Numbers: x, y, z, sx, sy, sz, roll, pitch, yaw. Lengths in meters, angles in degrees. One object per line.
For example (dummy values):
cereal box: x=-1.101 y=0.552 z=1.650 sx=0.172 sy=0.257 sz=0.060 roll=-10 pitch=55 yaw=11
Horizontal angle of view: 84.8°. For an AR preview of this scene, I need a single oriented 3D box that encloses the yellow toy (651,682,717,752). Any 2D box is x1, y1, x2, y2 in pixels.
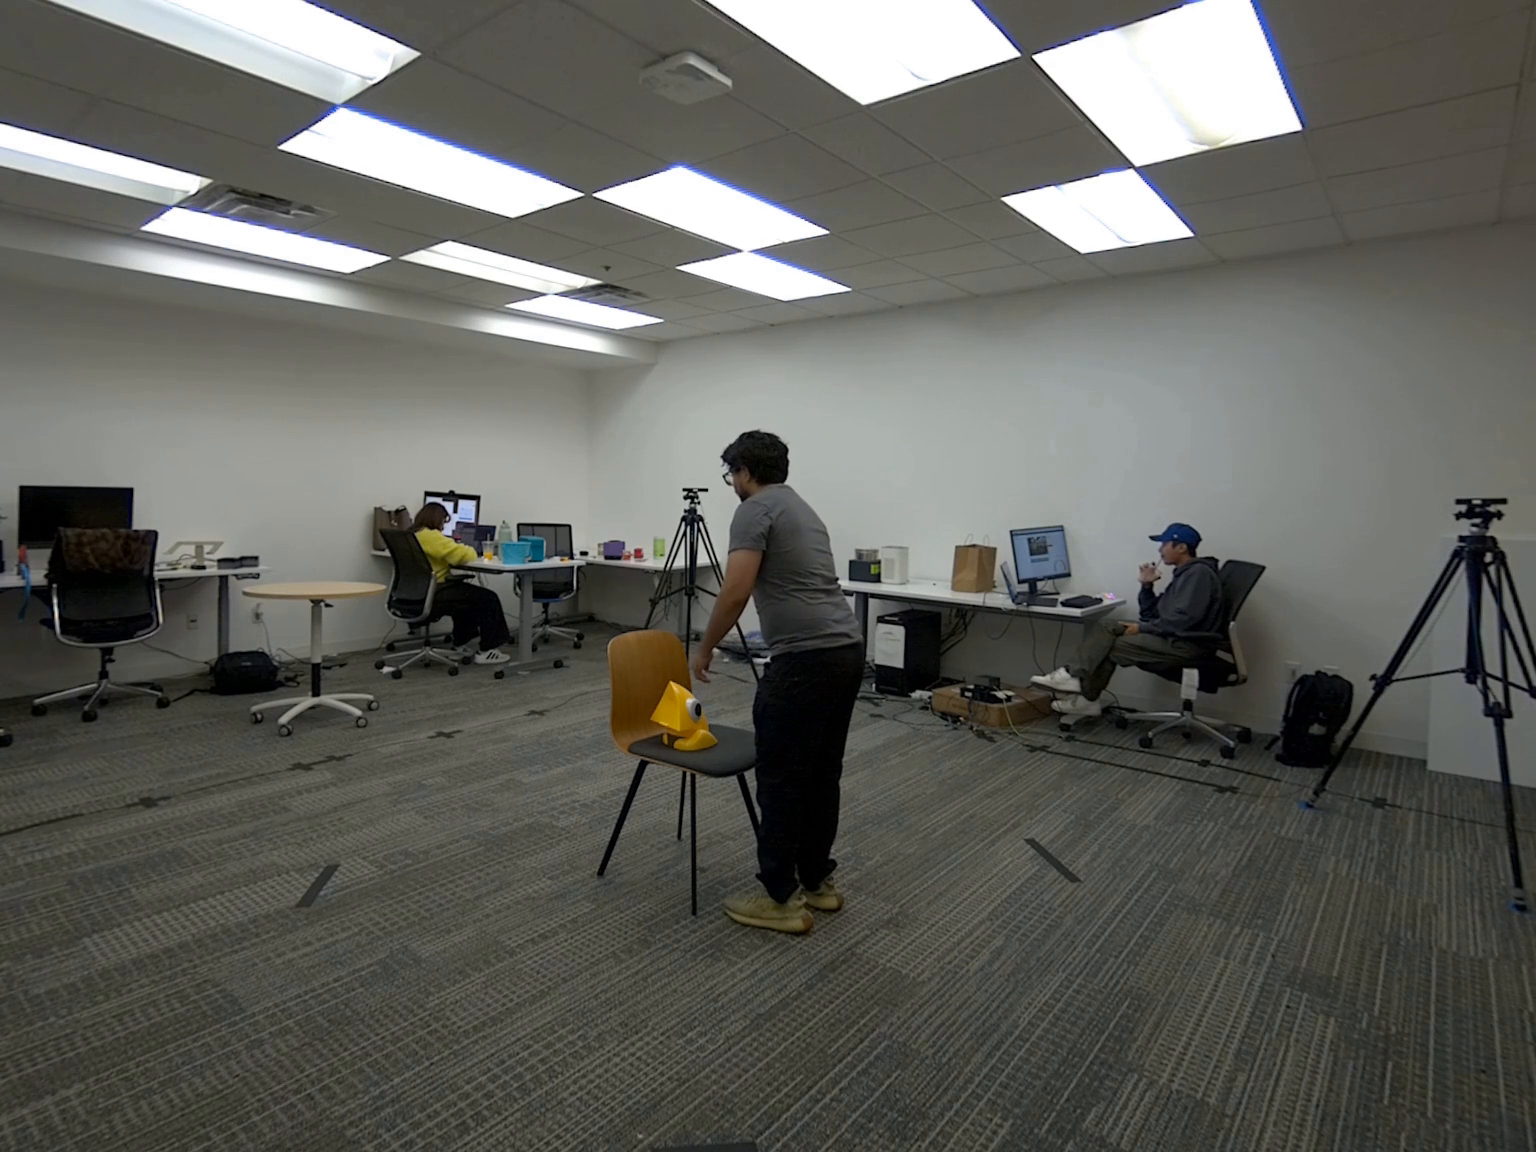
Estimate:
yellow toy: x=-0.312 y=0.484 z=3.069 sx=0.187 sy=0.230 sz=0.211 roll=-3 pitch=2 yaw=-36
